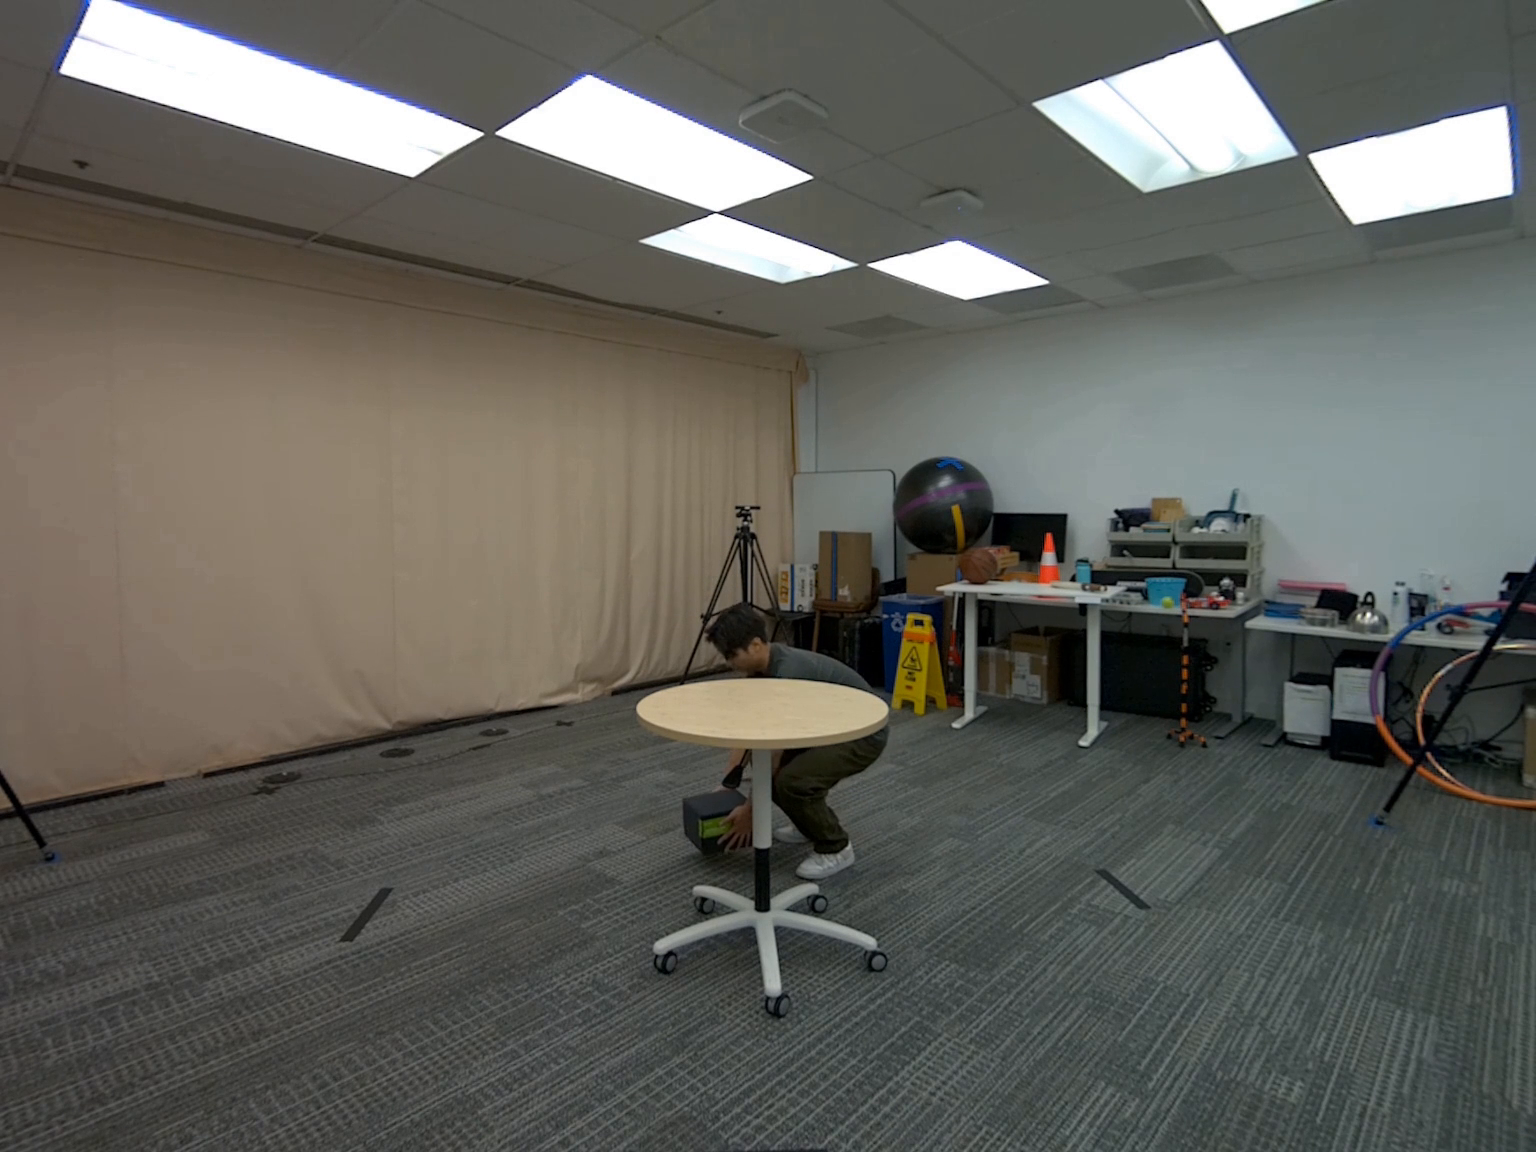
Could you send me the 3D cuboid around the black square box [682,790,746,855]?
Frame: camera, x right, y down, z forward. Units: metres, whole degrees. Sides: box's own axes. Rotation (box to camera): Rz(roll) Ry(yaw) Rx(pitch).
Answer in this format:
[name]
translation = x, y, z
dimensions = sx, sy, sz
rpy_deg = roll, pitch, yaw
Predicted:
[black square box]
translation = -0.188, 0.961, 3.309
dimensions = 0.223, 0.155, 0.222
rpy_deg = -5, 6, -23
